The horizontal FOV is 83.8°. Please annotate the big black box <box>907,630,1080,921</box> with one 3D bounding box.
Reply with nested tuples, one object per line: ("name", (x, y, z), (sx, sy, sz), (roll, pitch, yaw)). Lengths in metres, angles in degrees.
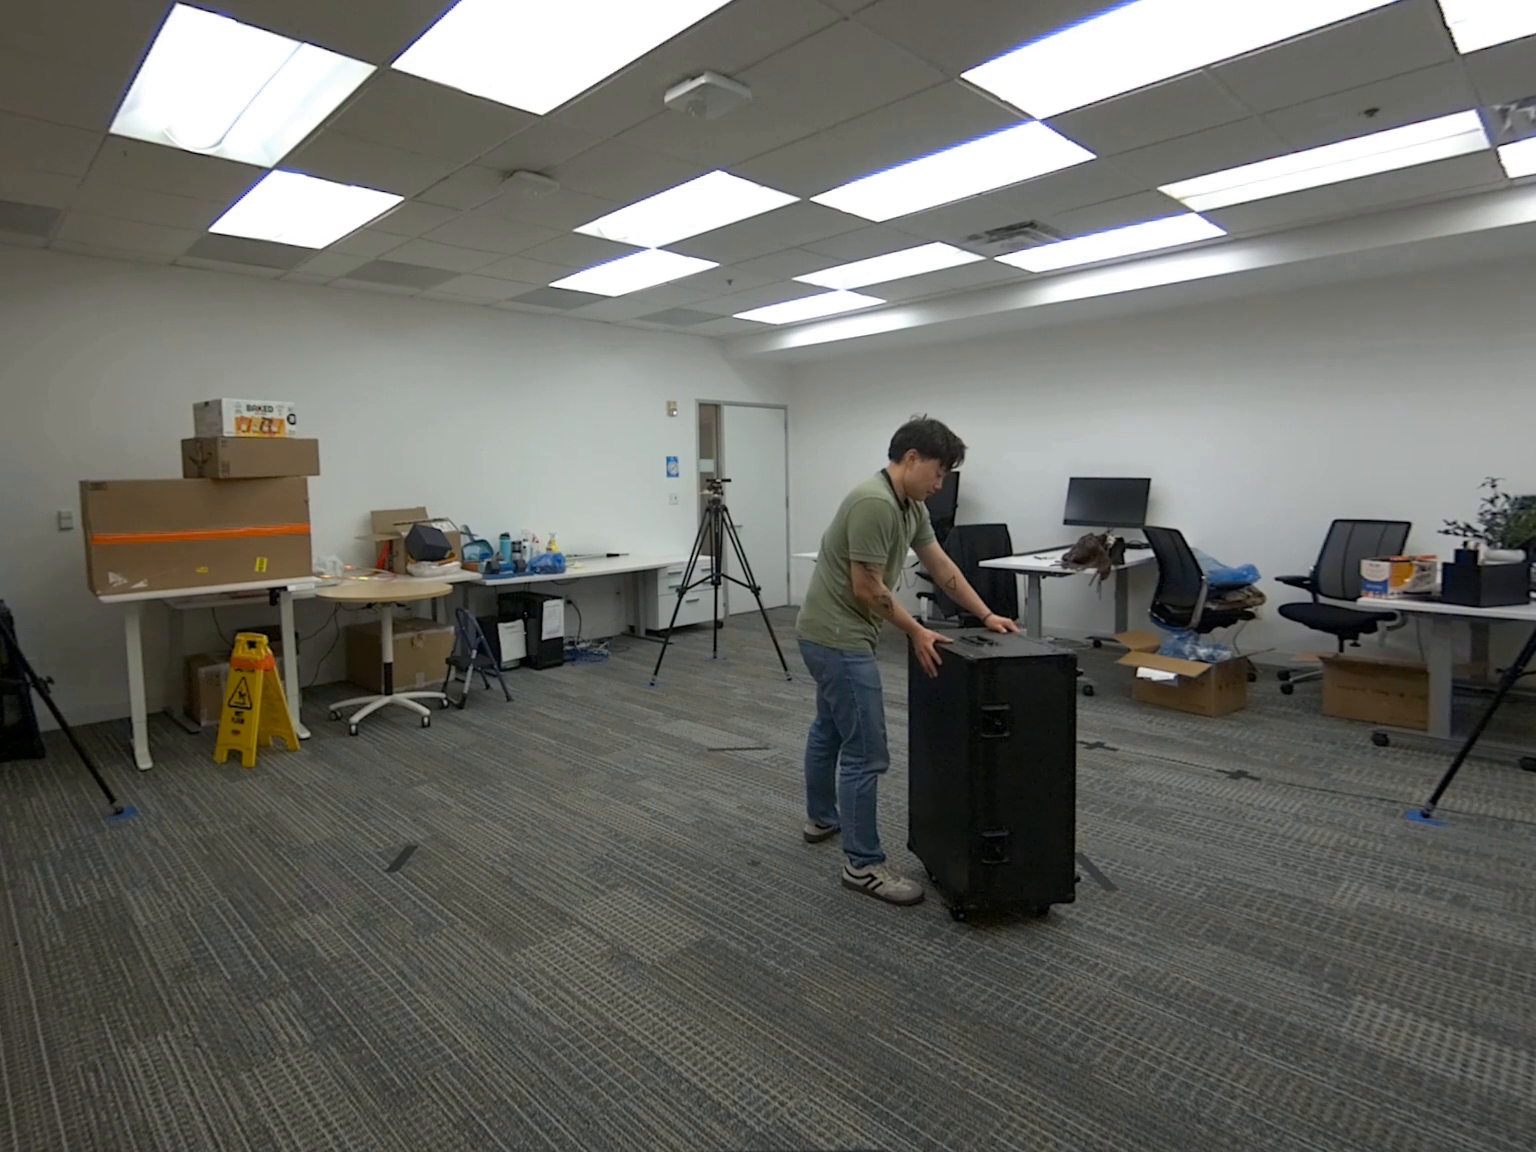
("big black box", (0.731, 0.636, 2.824), (0.391, 0.859, 0.529), (0, 4, -14))
